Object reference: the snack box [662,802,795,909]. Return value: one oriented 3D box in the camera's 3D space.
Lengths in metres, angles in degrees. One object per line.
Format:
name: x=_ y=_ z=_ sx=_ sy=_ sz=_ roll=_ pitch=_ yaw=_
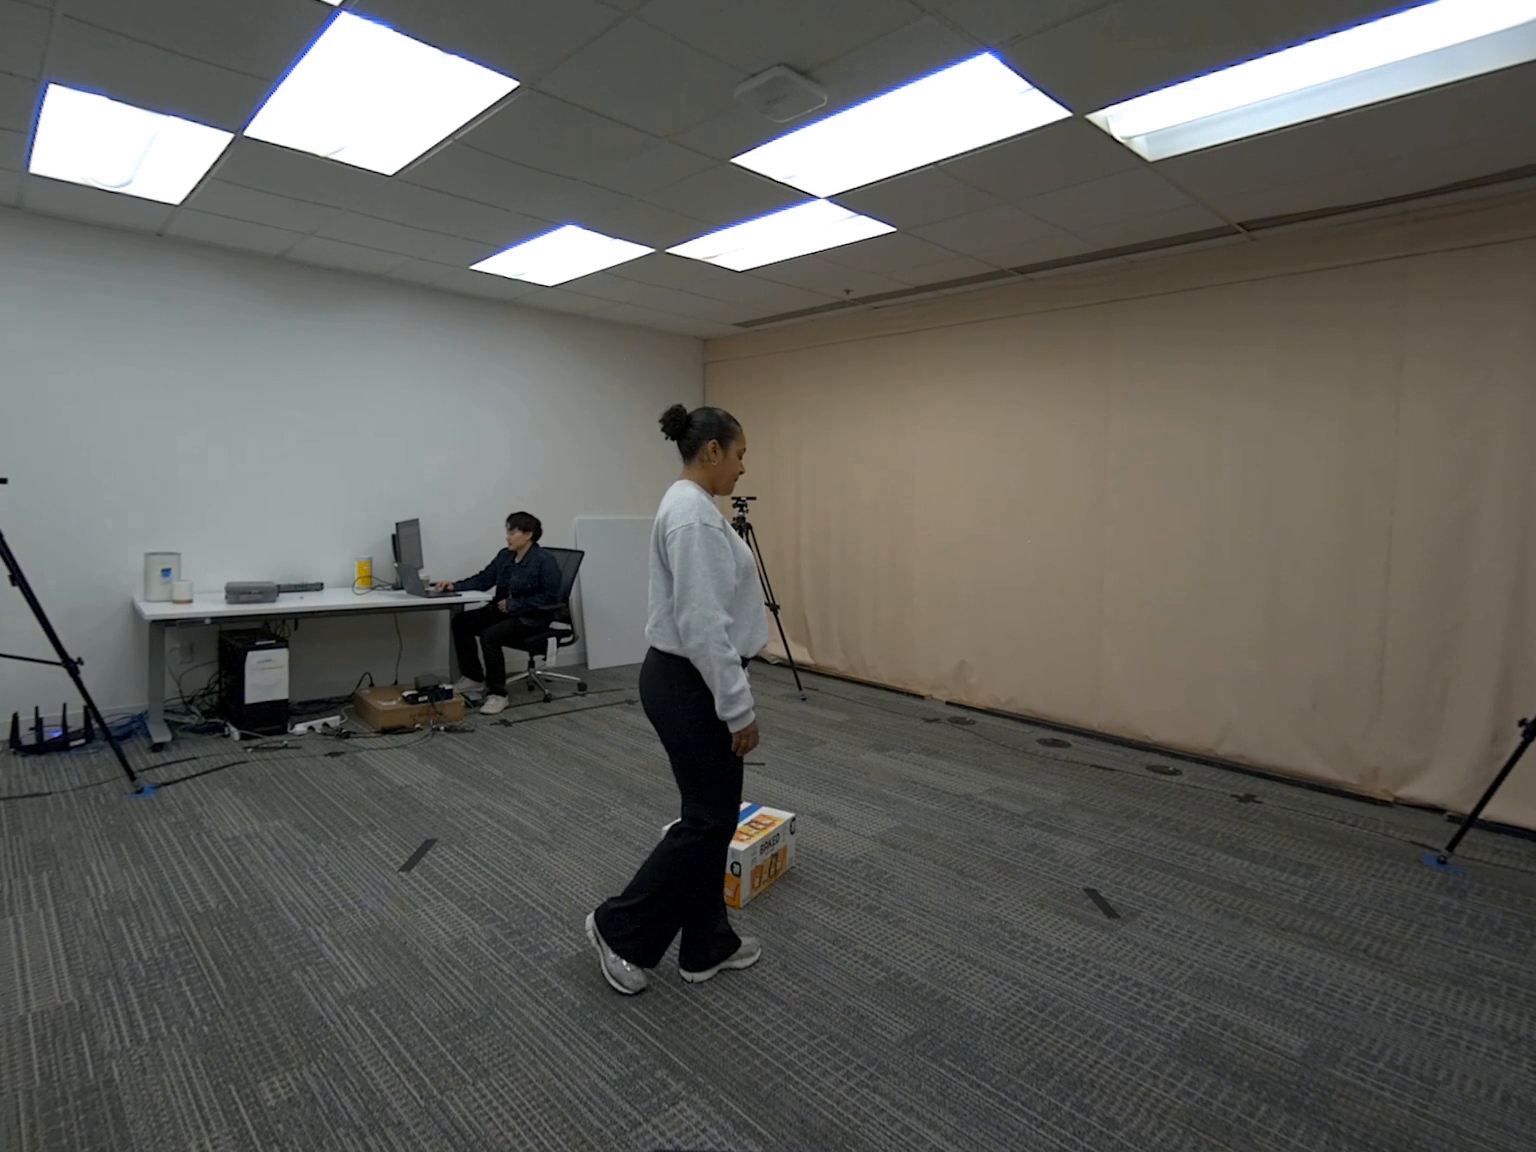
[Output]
snack box: x=-0.147 y=1.006 z=3.103 sx=0.348 sy=0.205 sz=0.397 roll=4 pitch=6 yaw=30
